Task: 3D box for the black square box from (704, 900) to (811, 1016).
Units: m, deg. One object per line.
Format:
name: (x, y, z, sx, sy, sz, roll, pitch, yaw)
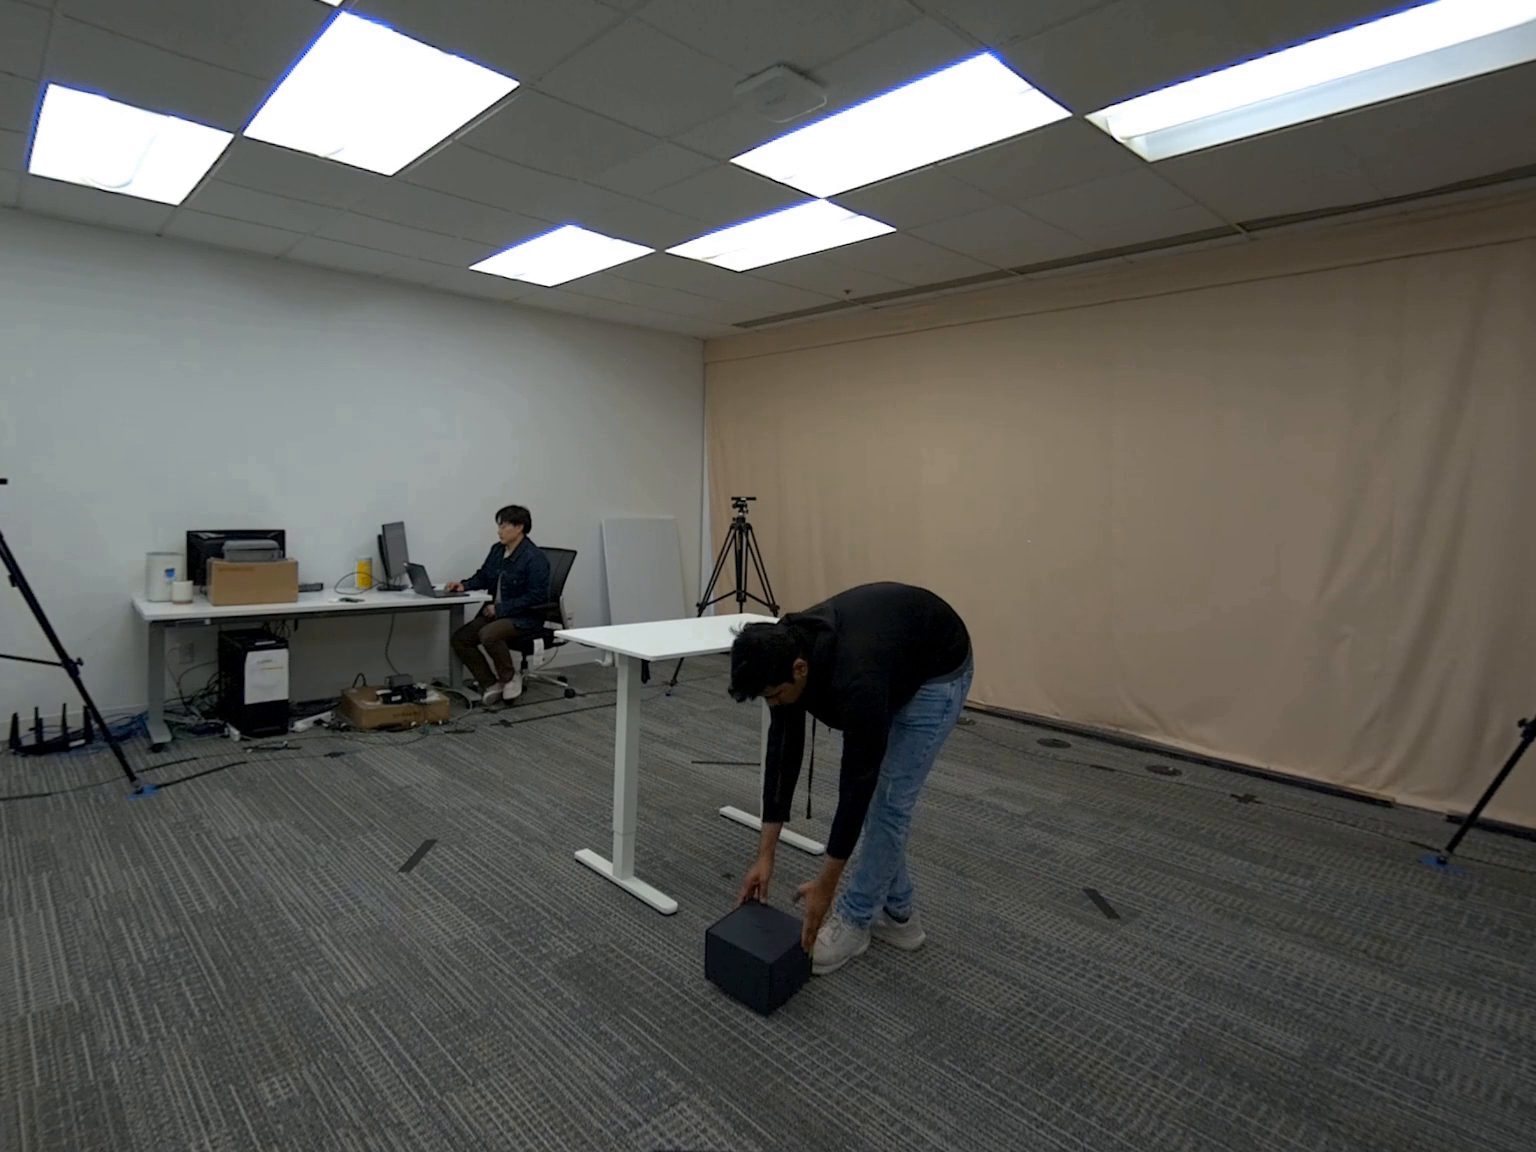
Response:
black square box: (-0.024, 1.042, 2.377, 0.234, 0.155, 0.213, 9, 12, 36)
